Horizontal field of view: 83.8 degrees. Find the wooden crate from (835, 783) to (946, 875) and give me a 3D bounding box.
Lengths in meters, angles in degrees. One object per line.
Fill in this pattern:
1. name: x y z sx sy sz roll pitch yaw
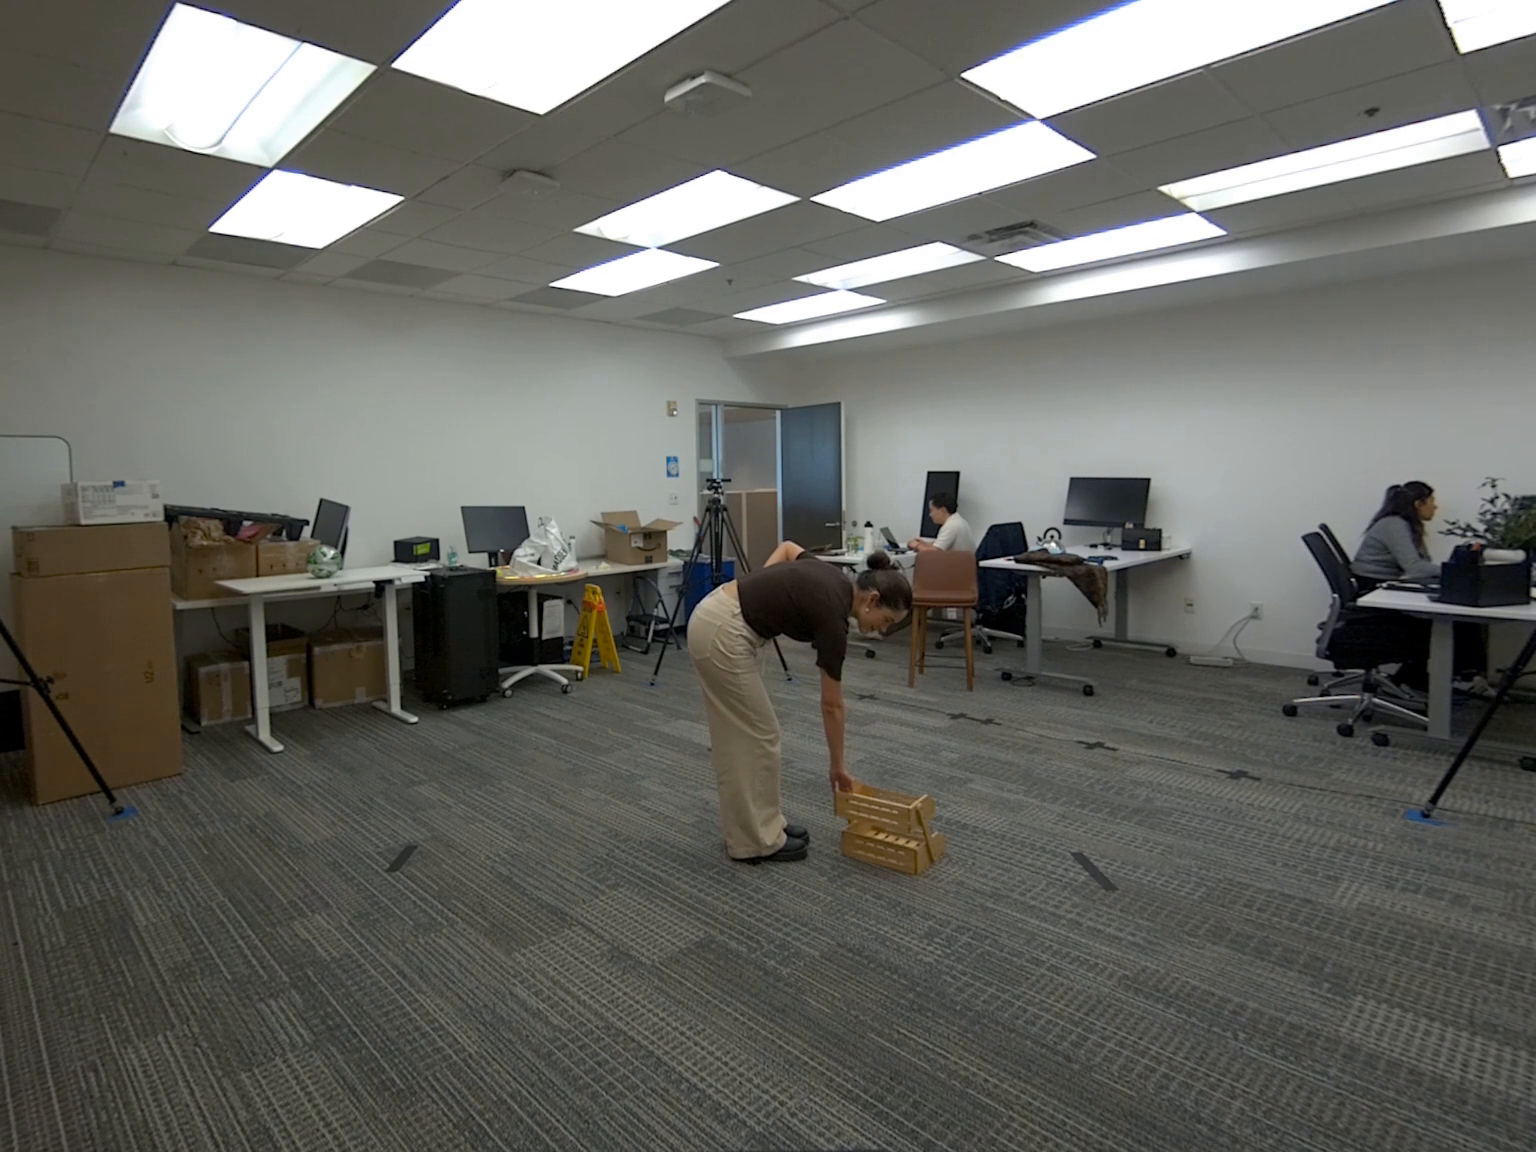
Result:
1. wooden crate: 0.447 0.894 3.144 0.334 0.272 0.295 2 7 35
